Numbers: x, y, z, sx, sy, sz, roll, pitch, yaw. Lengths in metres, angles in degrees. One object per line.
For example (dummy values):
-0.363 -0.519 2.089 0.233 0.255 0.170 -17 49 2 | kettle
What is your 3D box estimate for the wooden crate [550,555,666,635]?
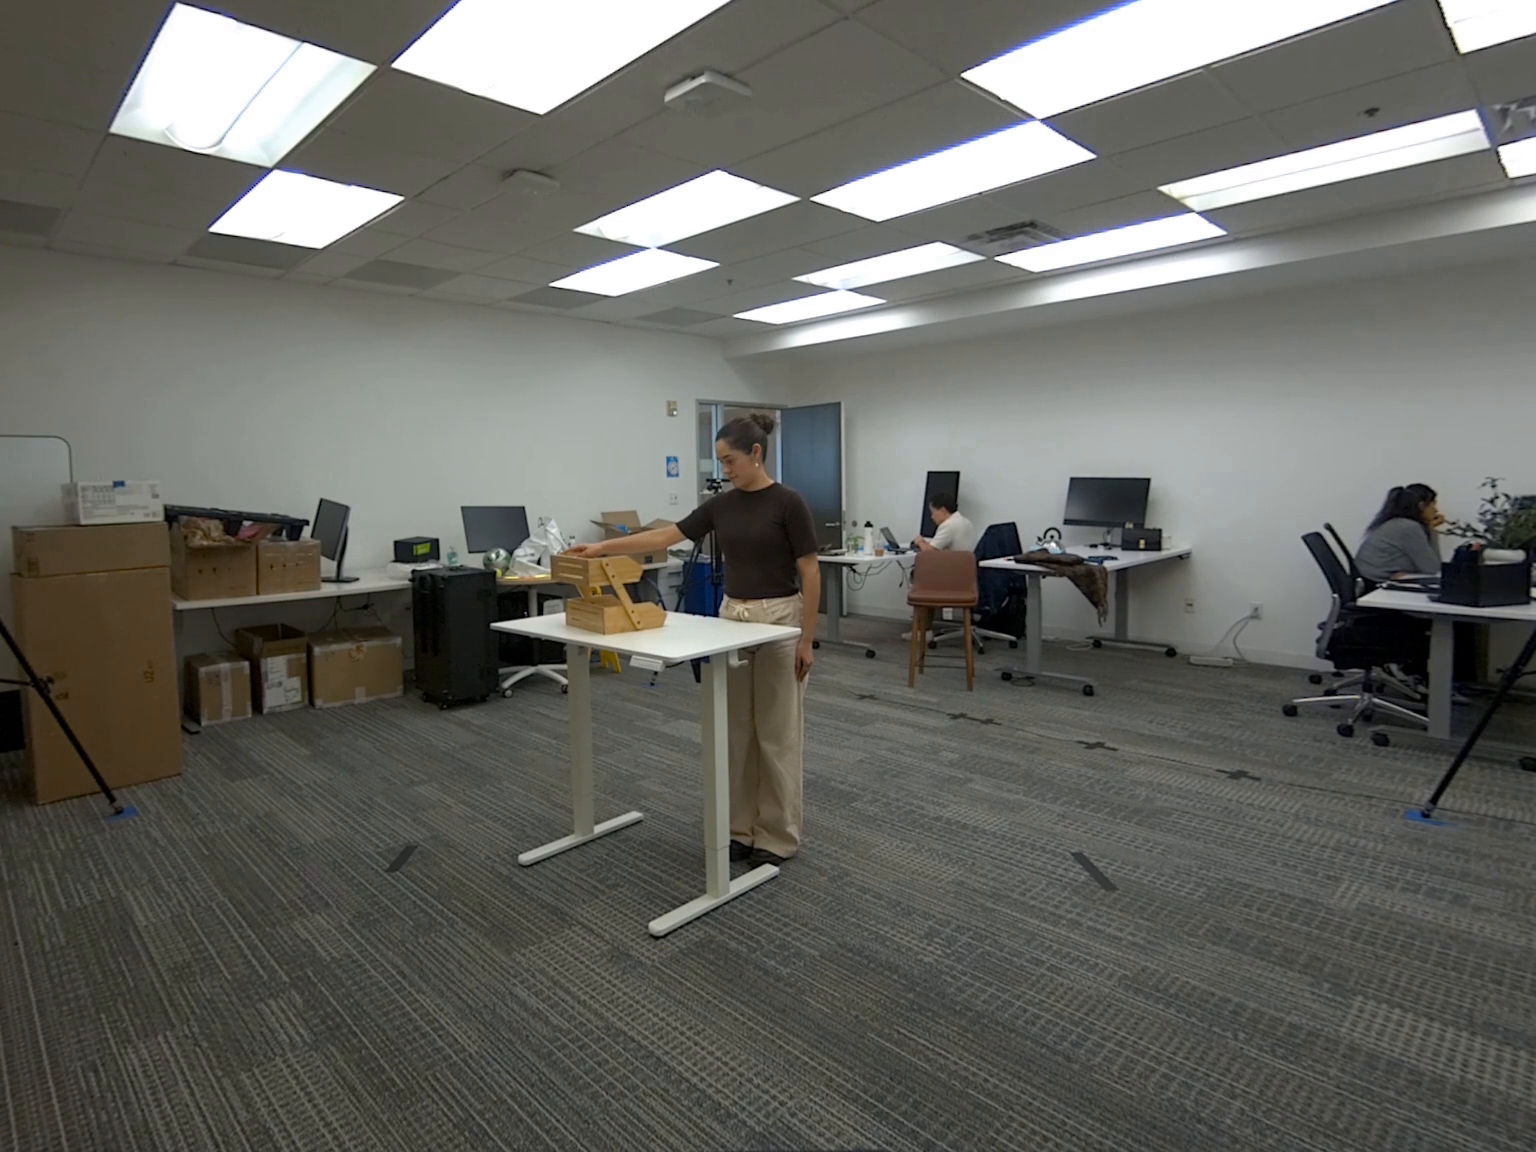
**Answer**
-0.565 0.048 3.034 0.294 0.272 0.334 -6 7 -37 | wooden crate
